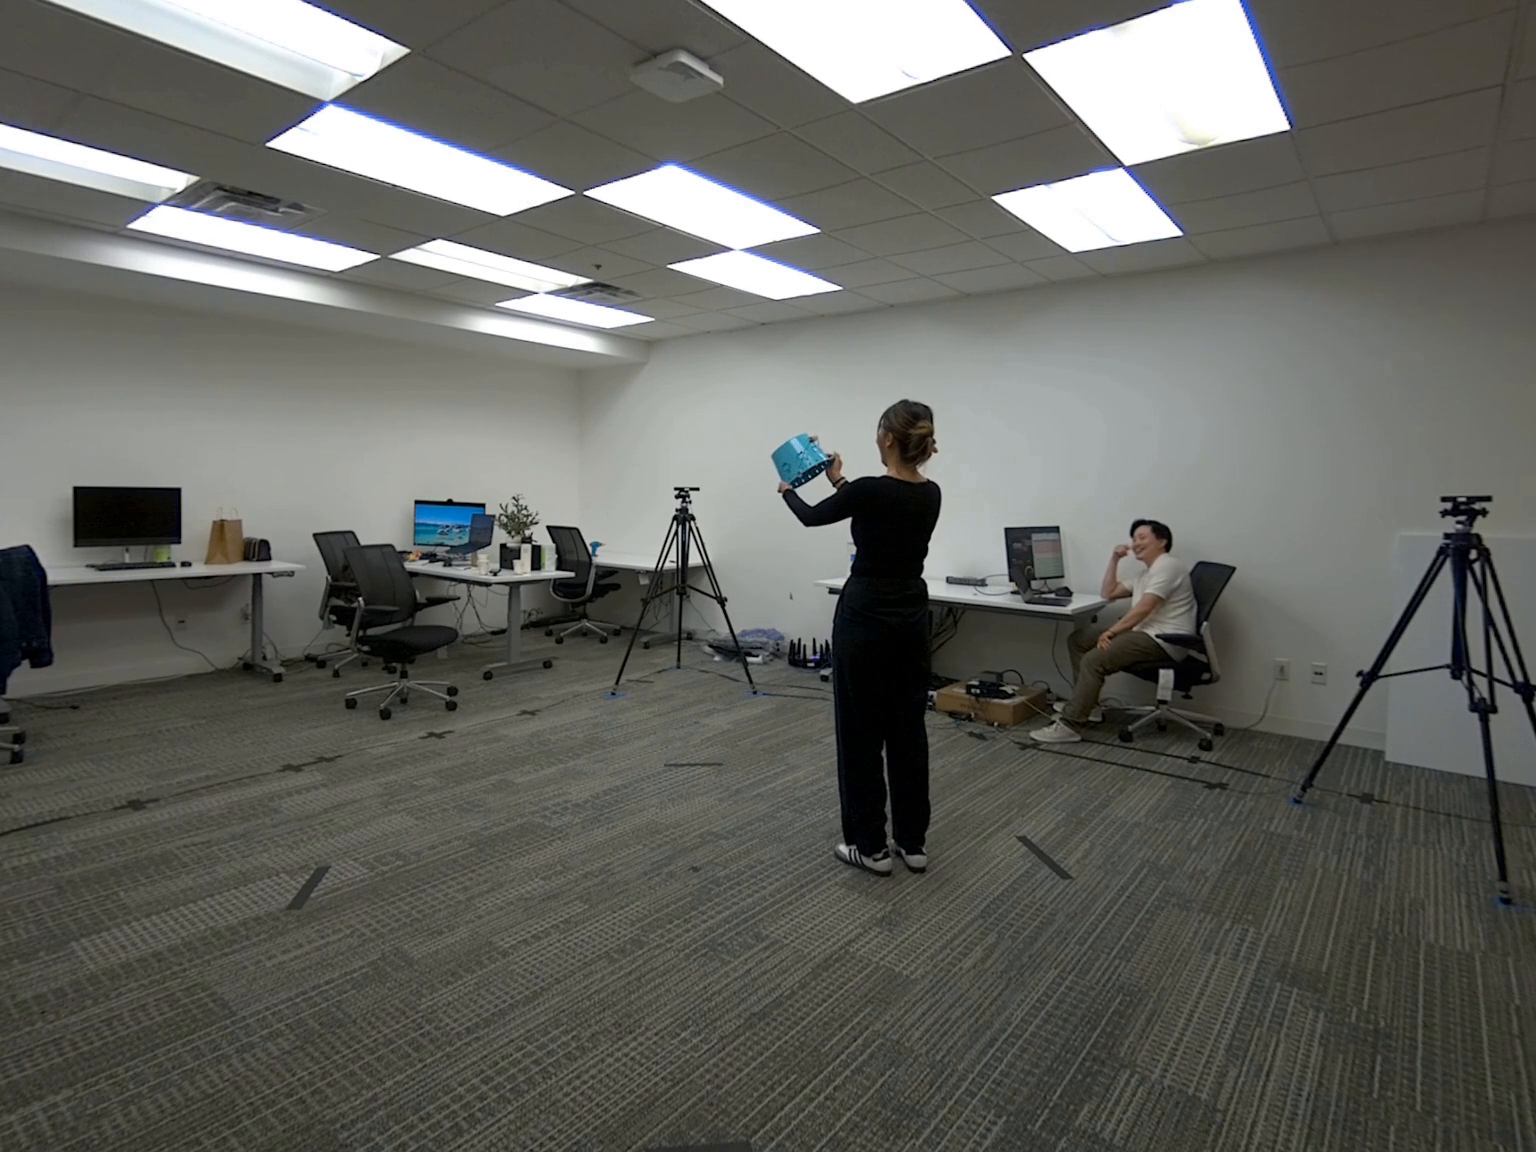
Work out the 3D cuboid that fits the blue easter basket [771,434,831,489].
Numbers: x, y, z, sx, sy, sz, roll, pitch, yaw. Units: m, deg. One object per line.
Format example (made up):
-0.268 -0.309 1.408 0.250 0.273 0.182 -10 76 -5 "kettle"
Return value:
0.124 -0.487 3.583 0.243 0.158 0.241 -31 -8 -7 "blue easter basket"
